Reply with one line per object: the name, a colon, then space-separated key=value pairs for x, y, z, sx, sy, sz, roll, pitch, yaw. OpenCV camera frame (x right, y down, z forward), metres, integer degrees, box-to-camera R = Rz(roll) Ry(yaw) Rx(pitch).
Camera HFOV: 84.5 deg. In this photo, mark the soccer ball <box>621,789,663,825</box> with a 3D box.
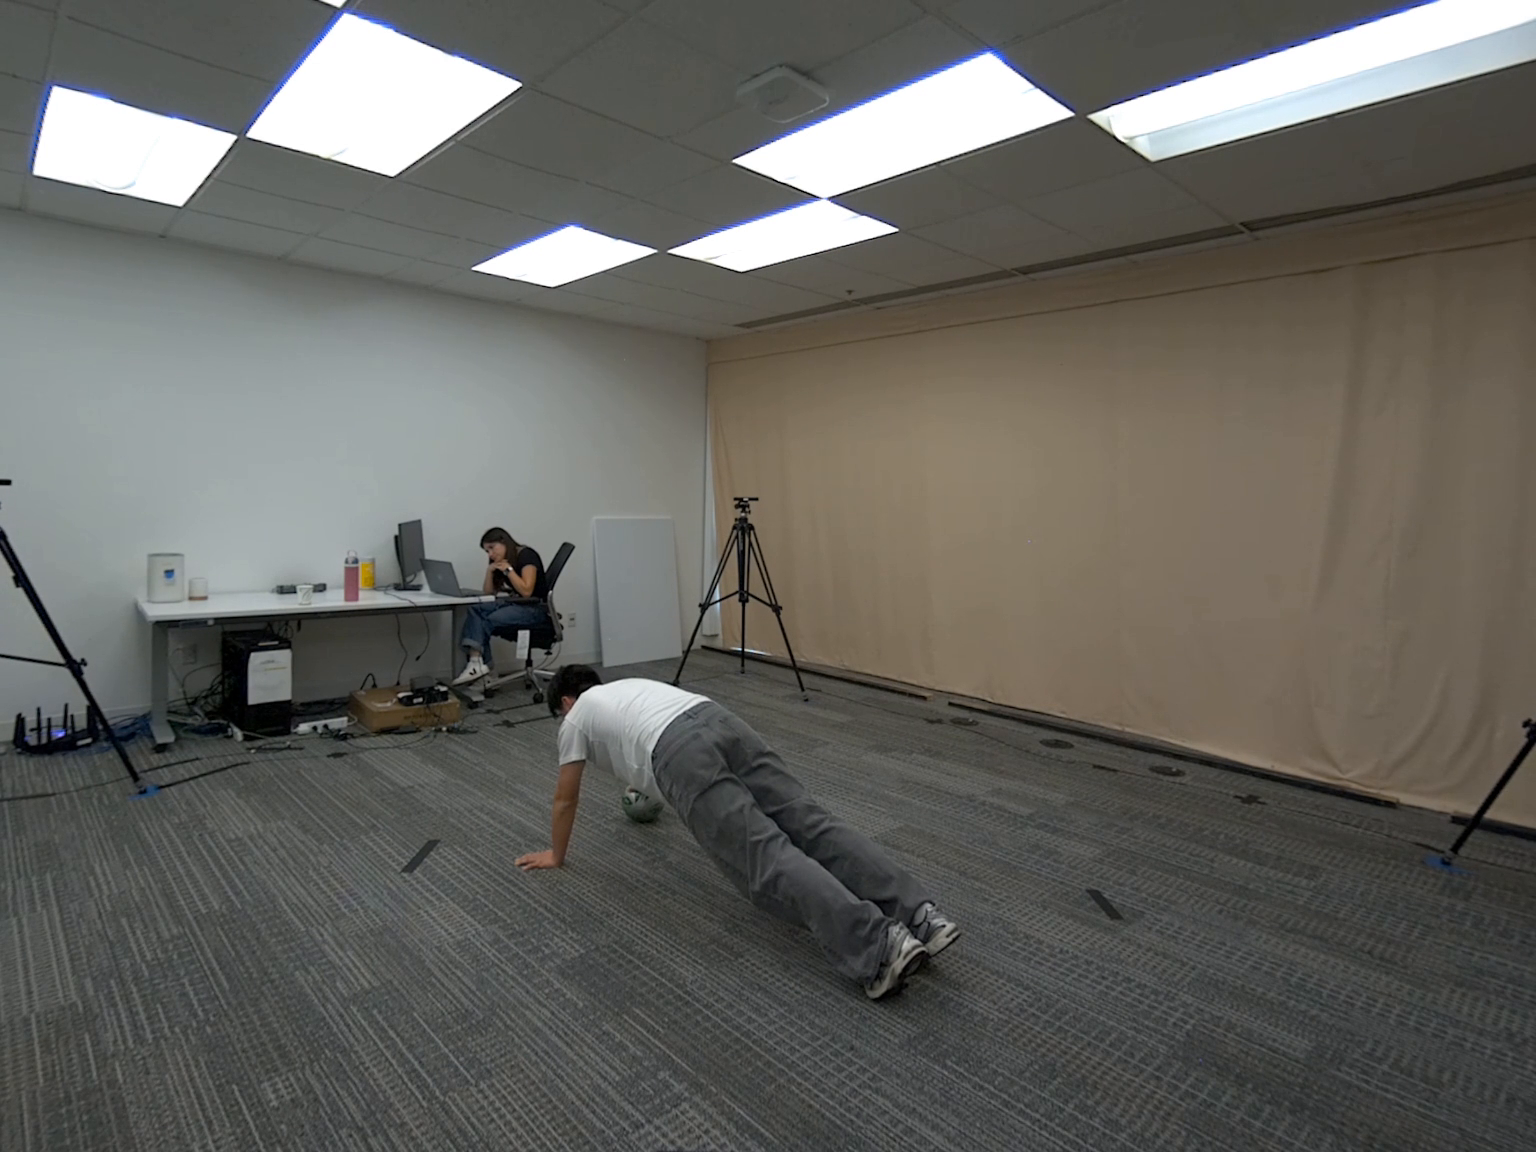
soccer ball: x=-0.548 y=0.968 z=3.625 sx=0.187 sy=0.187 sz=0.188 roll=1 pitch=4 yaw=-1
